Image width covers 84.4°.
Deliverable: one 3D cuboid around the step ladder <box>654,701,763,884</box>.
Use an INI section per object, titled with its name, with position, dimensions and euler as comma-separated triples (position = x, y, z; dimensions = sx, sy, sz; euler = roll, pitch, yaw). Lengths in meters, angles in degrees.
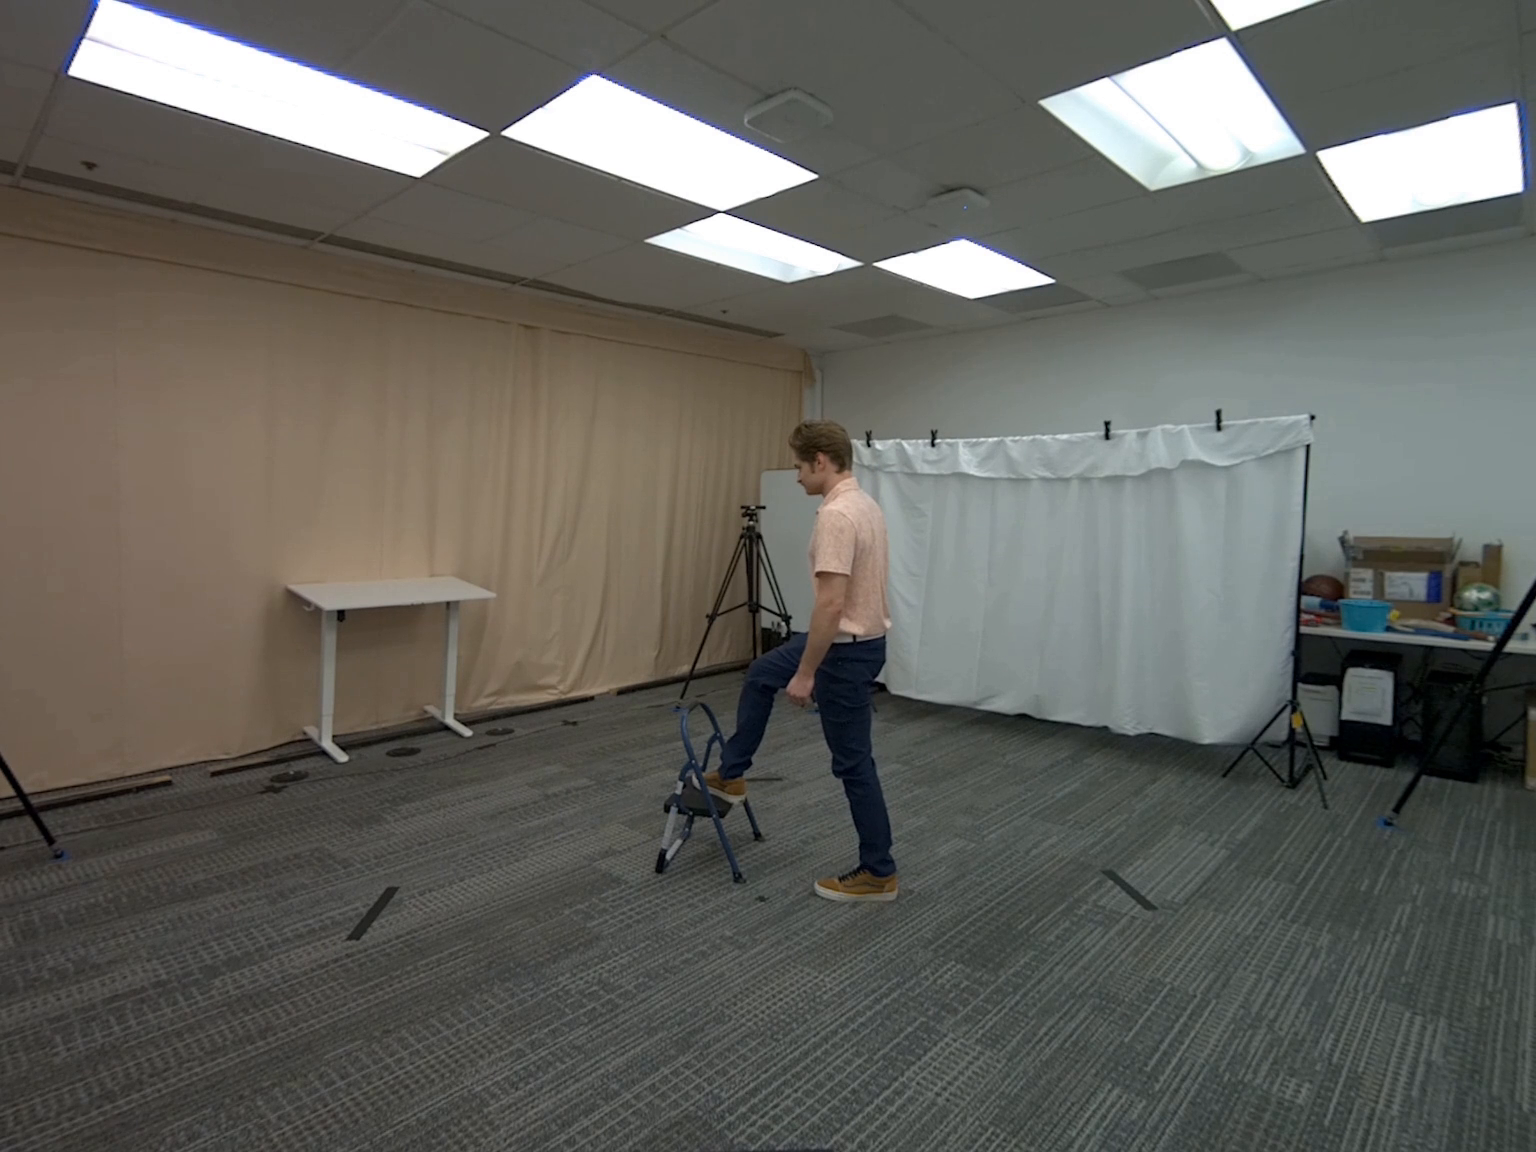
[step ladder]
position = -0.228, 0.814, 3.338
dimensions = 0.354, 0.605, 0.426
euler = 0, 4, 12
